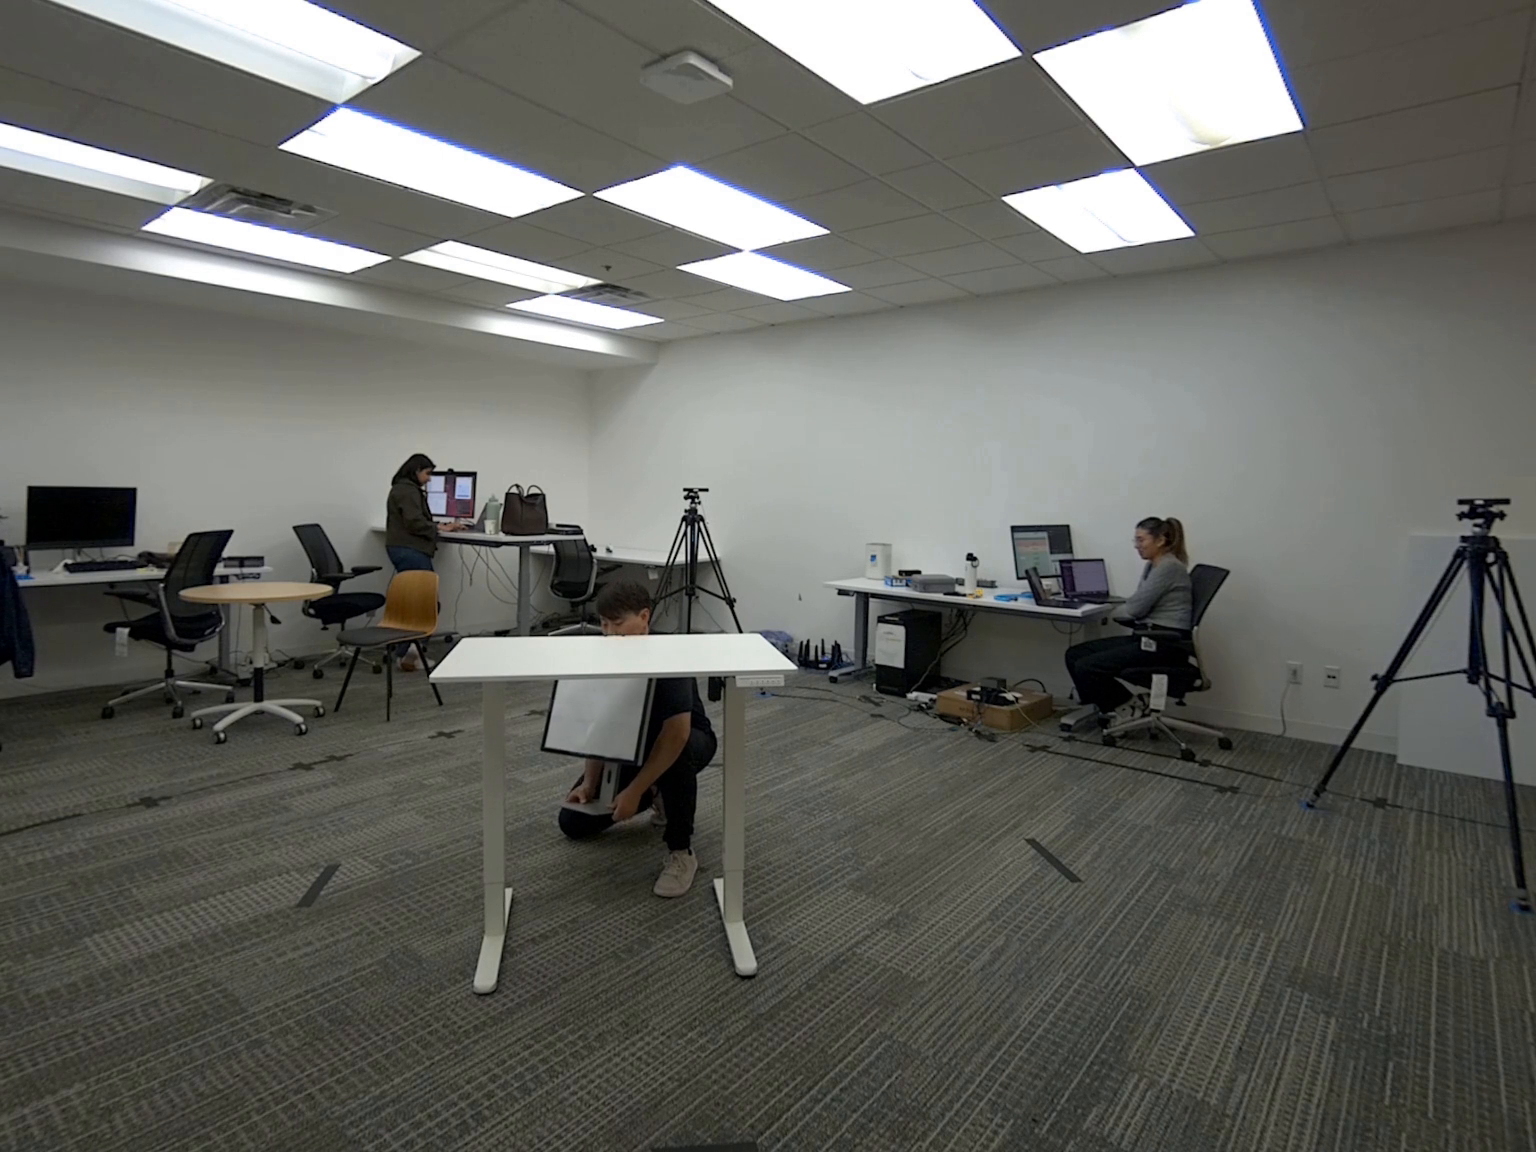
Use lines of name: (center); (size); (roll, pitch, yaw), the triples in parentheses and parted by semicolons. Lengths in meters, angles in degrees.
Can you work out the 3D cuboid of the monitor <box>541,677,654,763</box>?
monitor: (-0.613, 0.563, 3.070); (0.554, 0.527, 0.180); (-6, -10, 41)
